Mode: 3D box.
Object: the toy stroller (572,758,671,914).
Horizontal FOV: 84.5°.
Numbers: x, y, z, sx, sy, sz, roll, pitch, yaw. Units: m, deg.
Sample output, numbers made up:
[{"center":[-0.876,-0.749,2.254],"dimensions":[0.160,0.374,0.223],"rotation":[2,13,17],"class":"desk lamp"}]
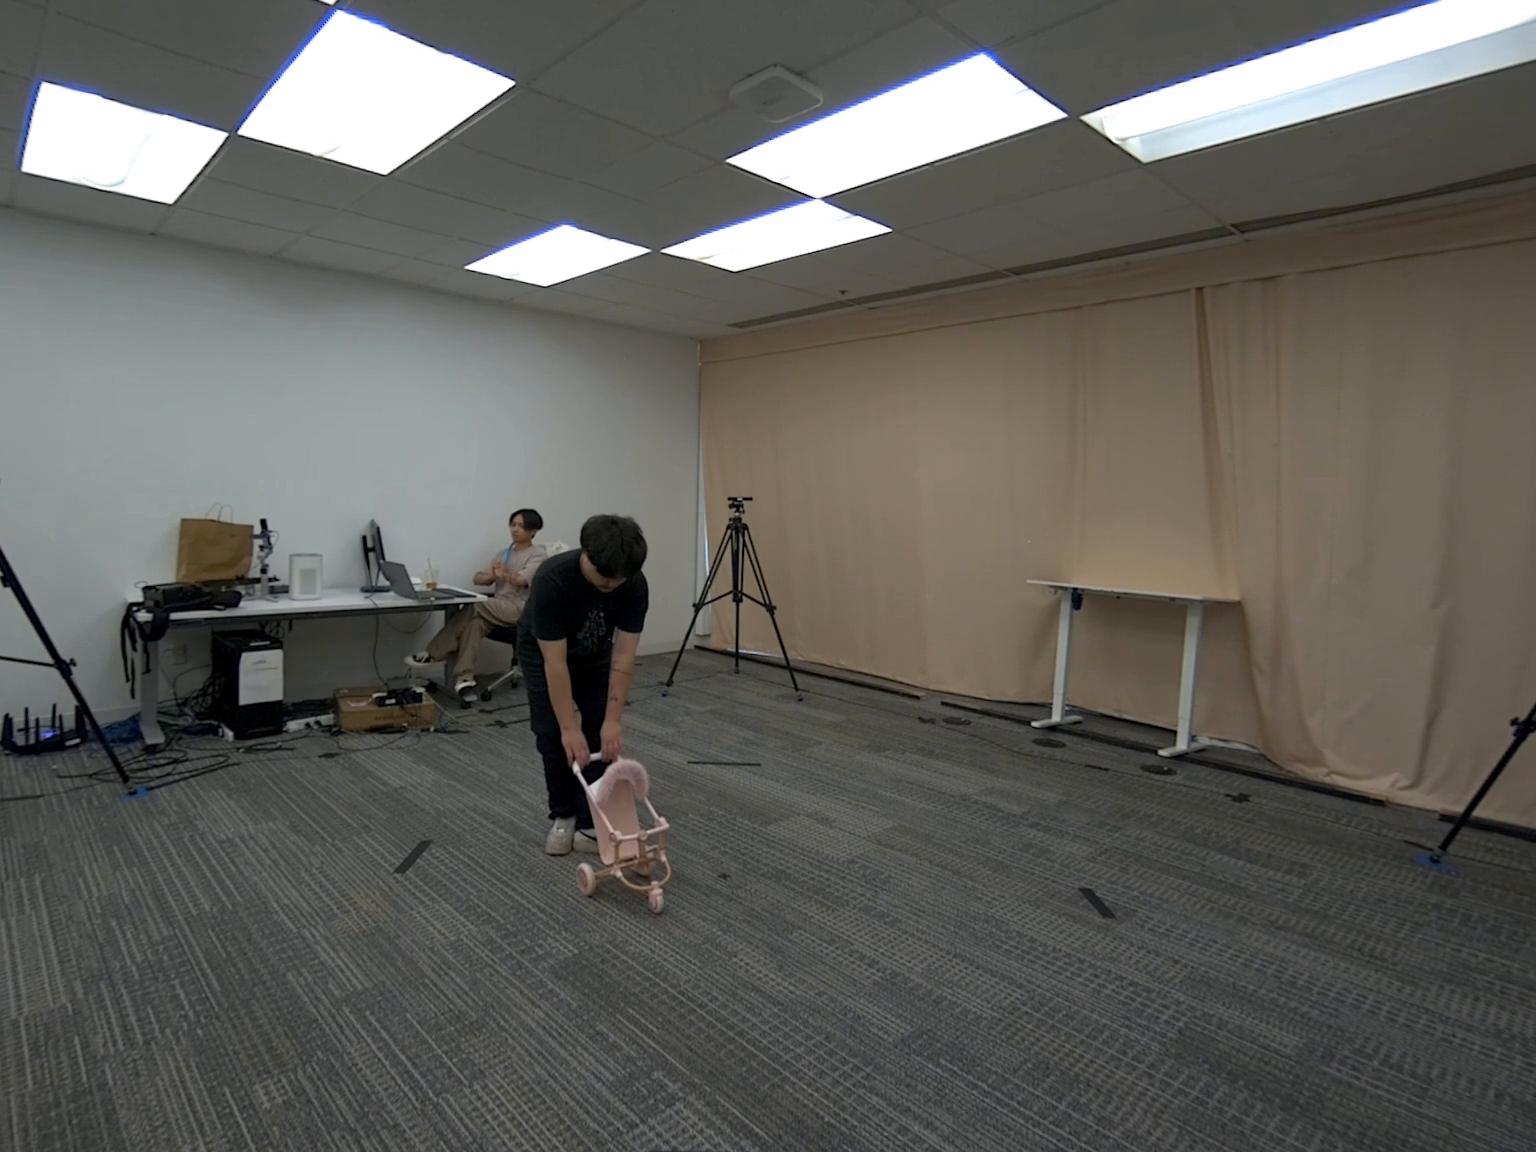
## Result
[{"center":[-0.505,0.886,2.952],"dimensions":[0.275,0.539,0.346],"rotation":[-2,-11,-38],"class":"toy stroller"}]
